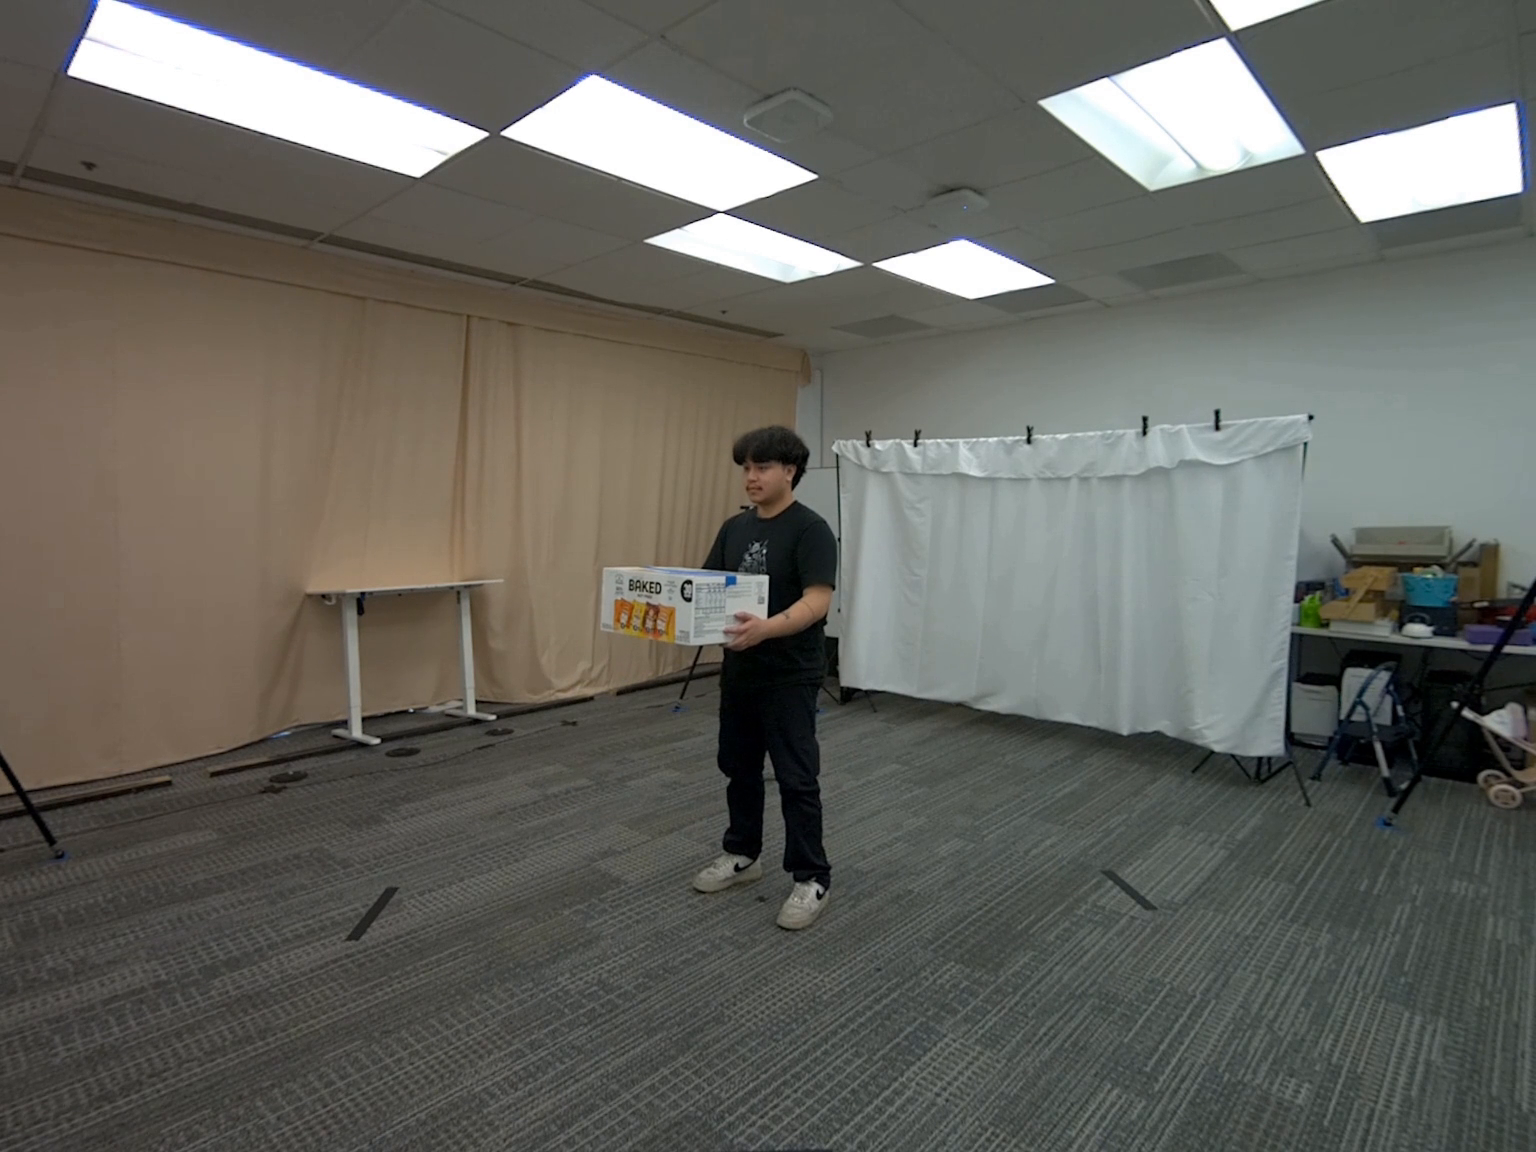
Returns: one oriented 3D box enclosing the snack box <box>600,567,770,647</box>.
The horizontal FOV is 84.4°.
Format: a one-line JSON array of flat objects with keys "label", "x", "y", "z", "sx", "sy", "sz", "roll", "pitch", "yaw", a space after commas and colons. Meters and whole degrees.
[{"label": "snack box", "x": -0.262, "y": 0.086, "z": 2.667, "sx": 0.419, "sy": 0.205, "sz": 0.329, "roll": 5, "pitch": 4, "yaw": 41}]
